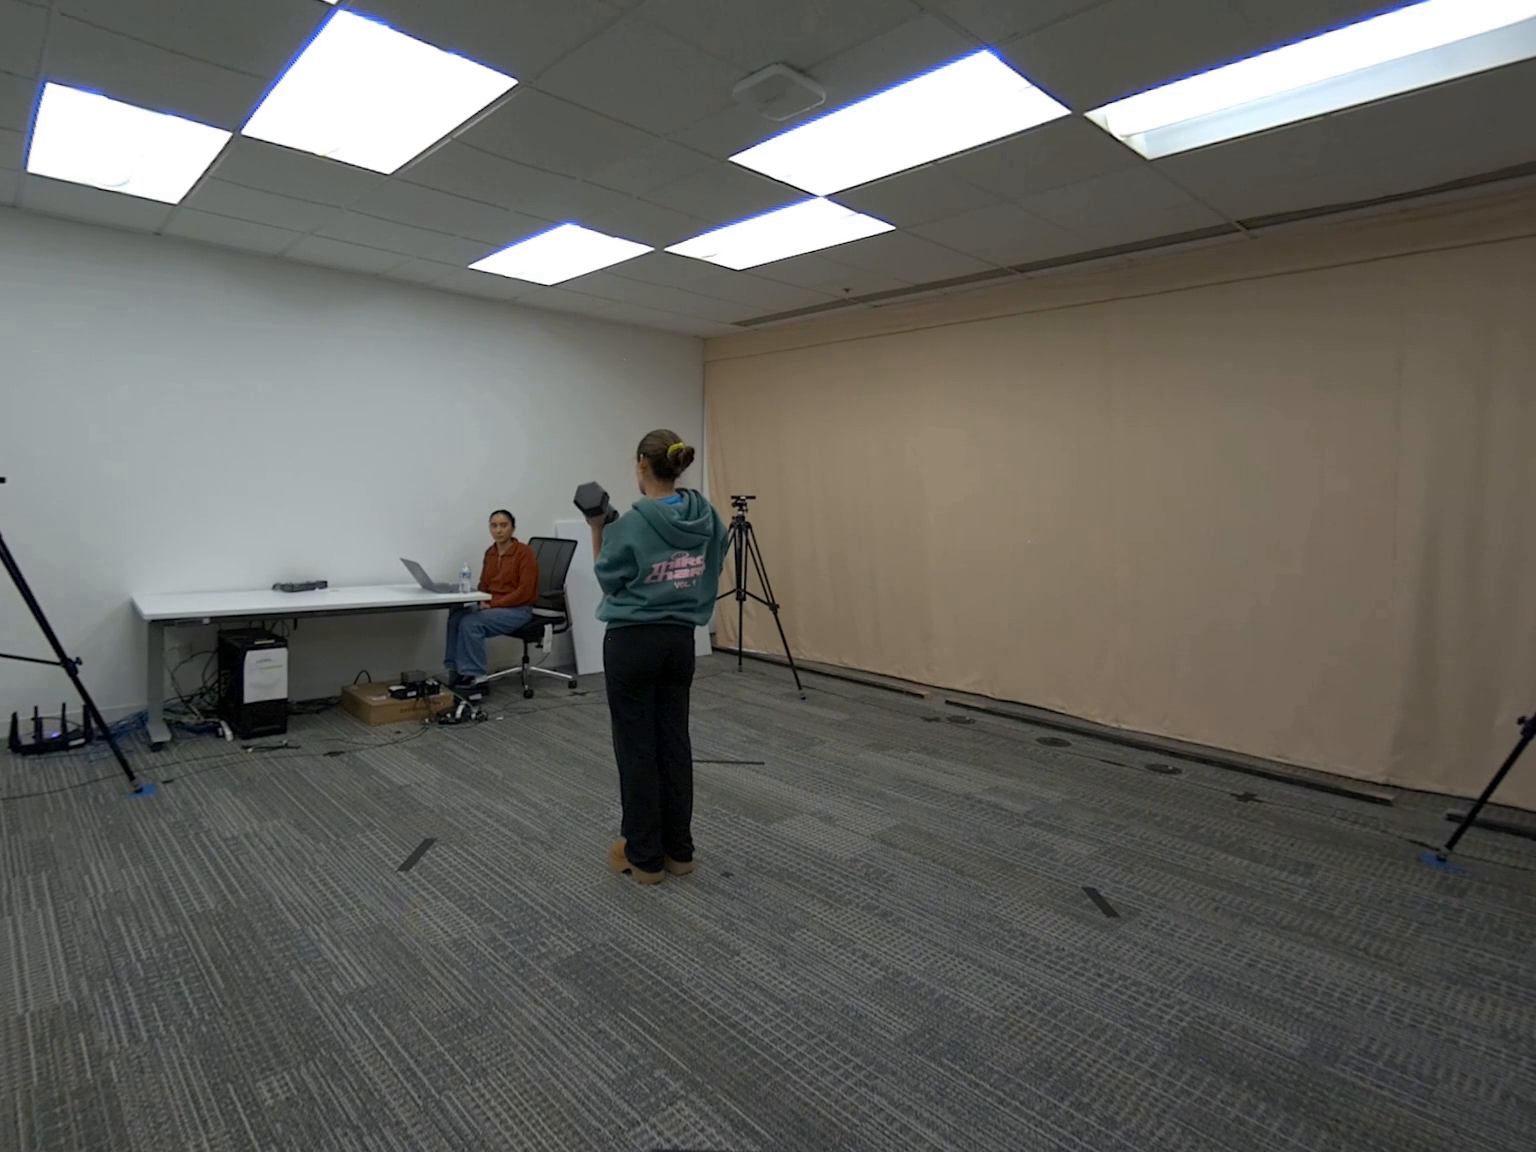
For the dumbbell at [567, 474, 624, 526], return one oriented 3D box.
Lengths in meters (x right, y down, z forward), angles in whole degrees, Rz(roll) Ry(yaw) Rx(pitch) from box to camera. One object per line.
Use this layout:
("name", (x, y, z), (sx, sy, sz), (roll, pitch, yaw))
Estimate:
("dumbbell", (-0.611, -0.241, 3.055), (0.124, 0.109, 0.290), (40, -10, 10))
